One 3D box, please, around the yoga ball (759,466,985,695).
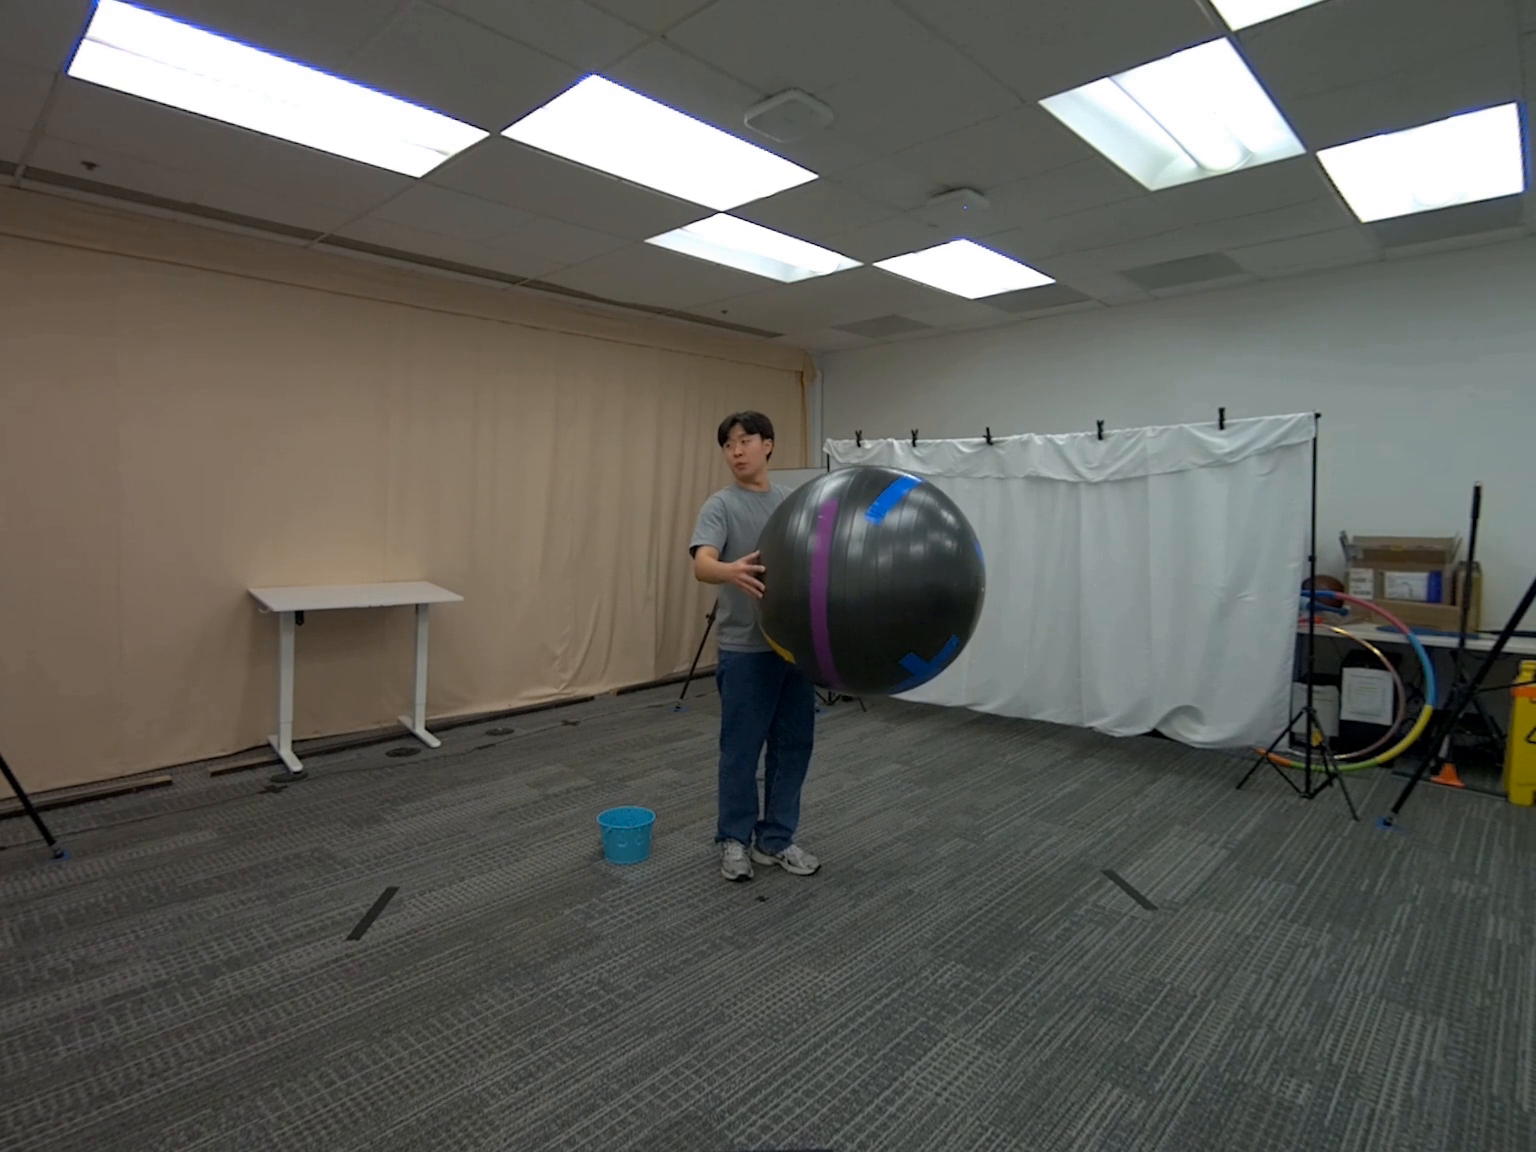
[{"bbox_3d":[0.327,0.014,2.776,0.757,0.756,0.761,0,4,-2],"label":"yoga ball"}]
